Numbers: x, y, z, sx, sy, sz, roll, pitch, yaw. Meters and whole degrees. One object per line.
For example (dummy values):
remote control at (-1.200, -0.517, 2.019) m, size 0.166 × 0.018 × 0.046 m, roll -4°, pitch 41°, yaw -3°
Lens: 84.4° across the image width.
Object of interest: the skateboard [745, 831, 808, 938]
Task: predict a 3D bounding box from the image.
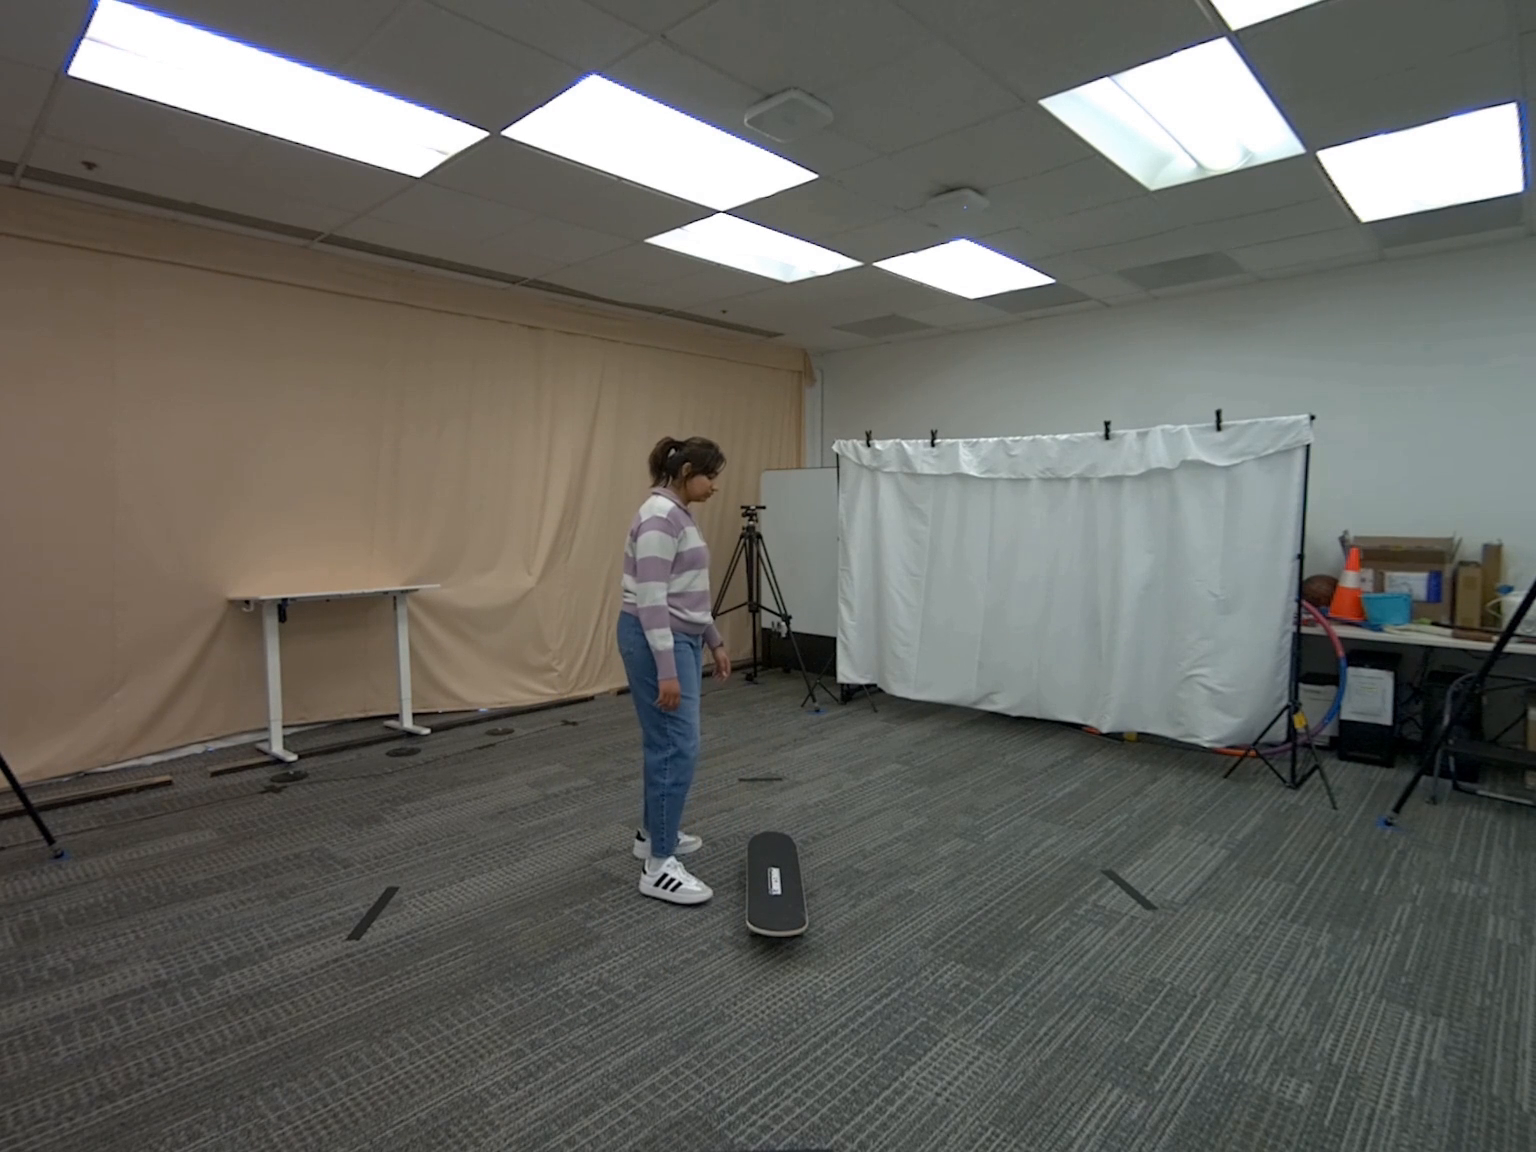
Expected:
skateboard at (0.026, 1.090, 2.926) m, size 0.194 × 0.110 × 0.786 m, roll -1°, pitch 5°, yaw 0°
